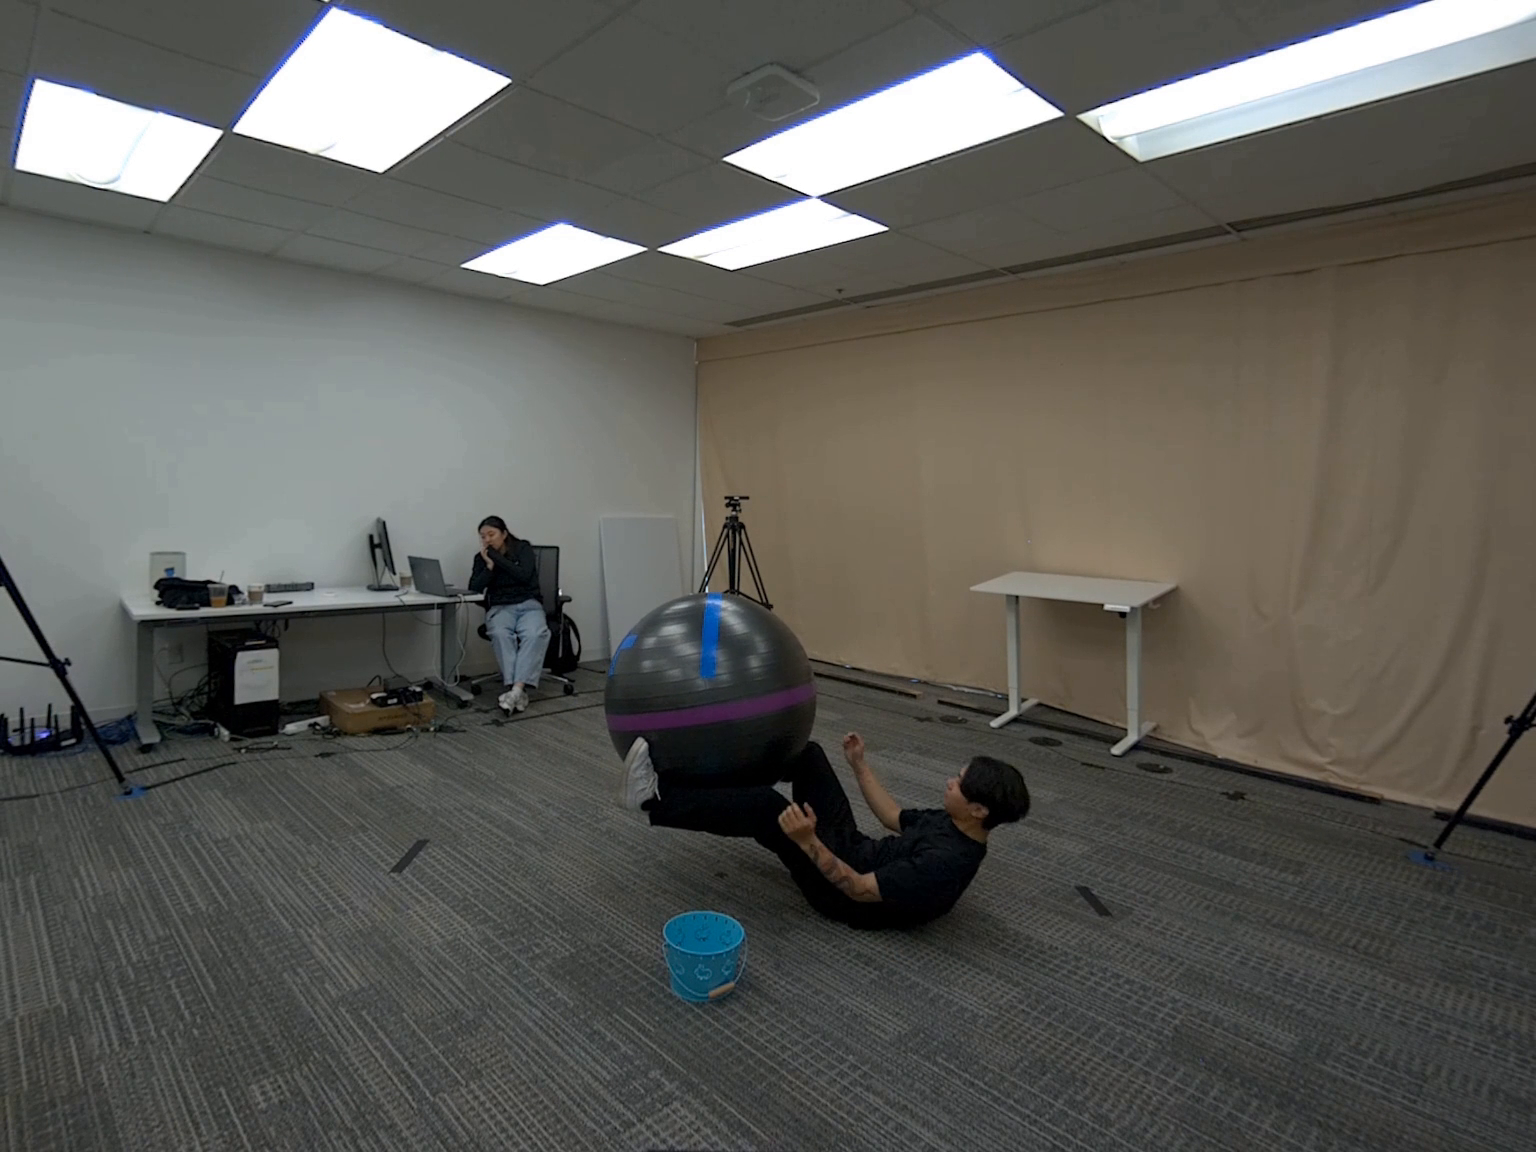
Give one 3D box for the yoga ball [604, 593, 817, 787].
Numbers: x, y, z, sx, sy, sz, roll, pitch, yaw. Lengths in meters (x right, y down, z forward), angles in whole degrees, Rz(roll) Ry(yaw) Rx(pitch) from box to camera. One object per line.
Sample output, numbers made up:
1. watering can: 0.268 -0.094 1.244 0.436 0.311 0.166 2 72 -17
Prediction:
1. yoga ball: -0.208 0.442 3.042 0.757 0.756 0.761 1 4 -1
